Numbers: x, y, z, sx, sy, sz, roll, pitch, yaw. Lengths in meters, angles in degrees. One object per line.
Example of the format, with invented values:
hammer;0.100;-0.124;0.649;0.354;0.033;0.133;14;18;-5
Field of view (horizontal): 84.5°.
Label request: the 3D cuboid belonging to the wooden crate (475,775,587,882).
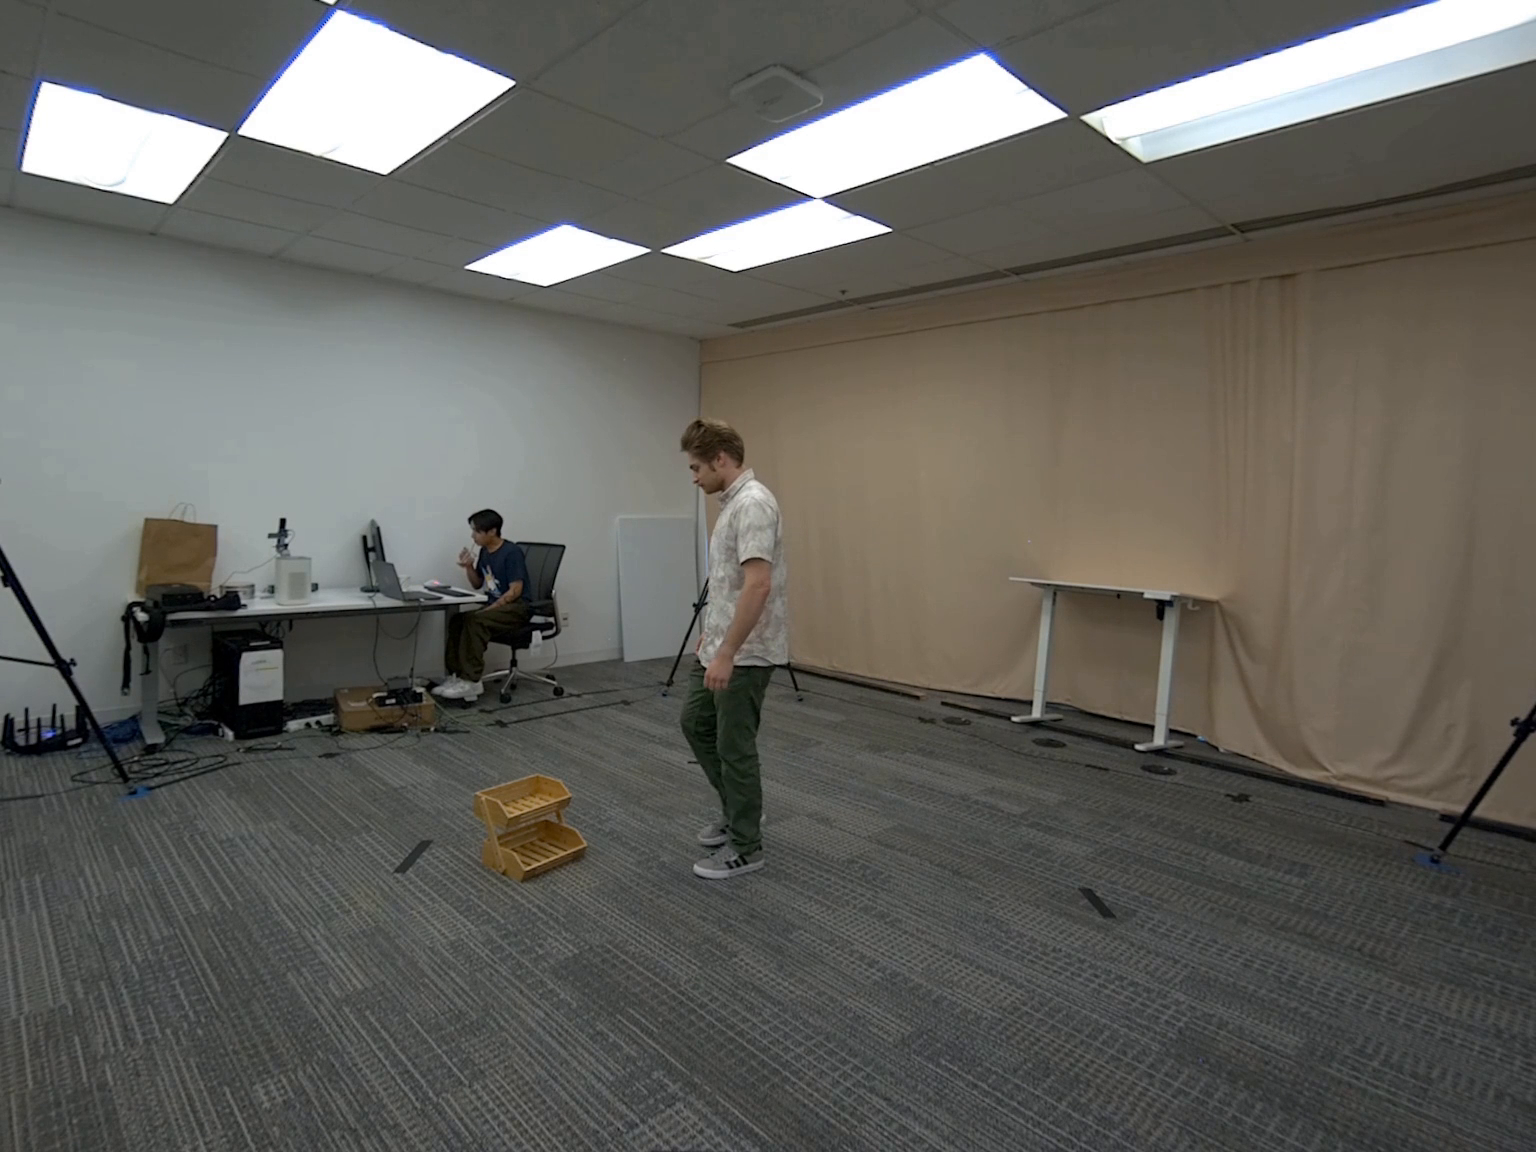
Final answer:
wooden crate;-0.902;0.944;3.206;0.309;0.273;0.317;3;5;36
